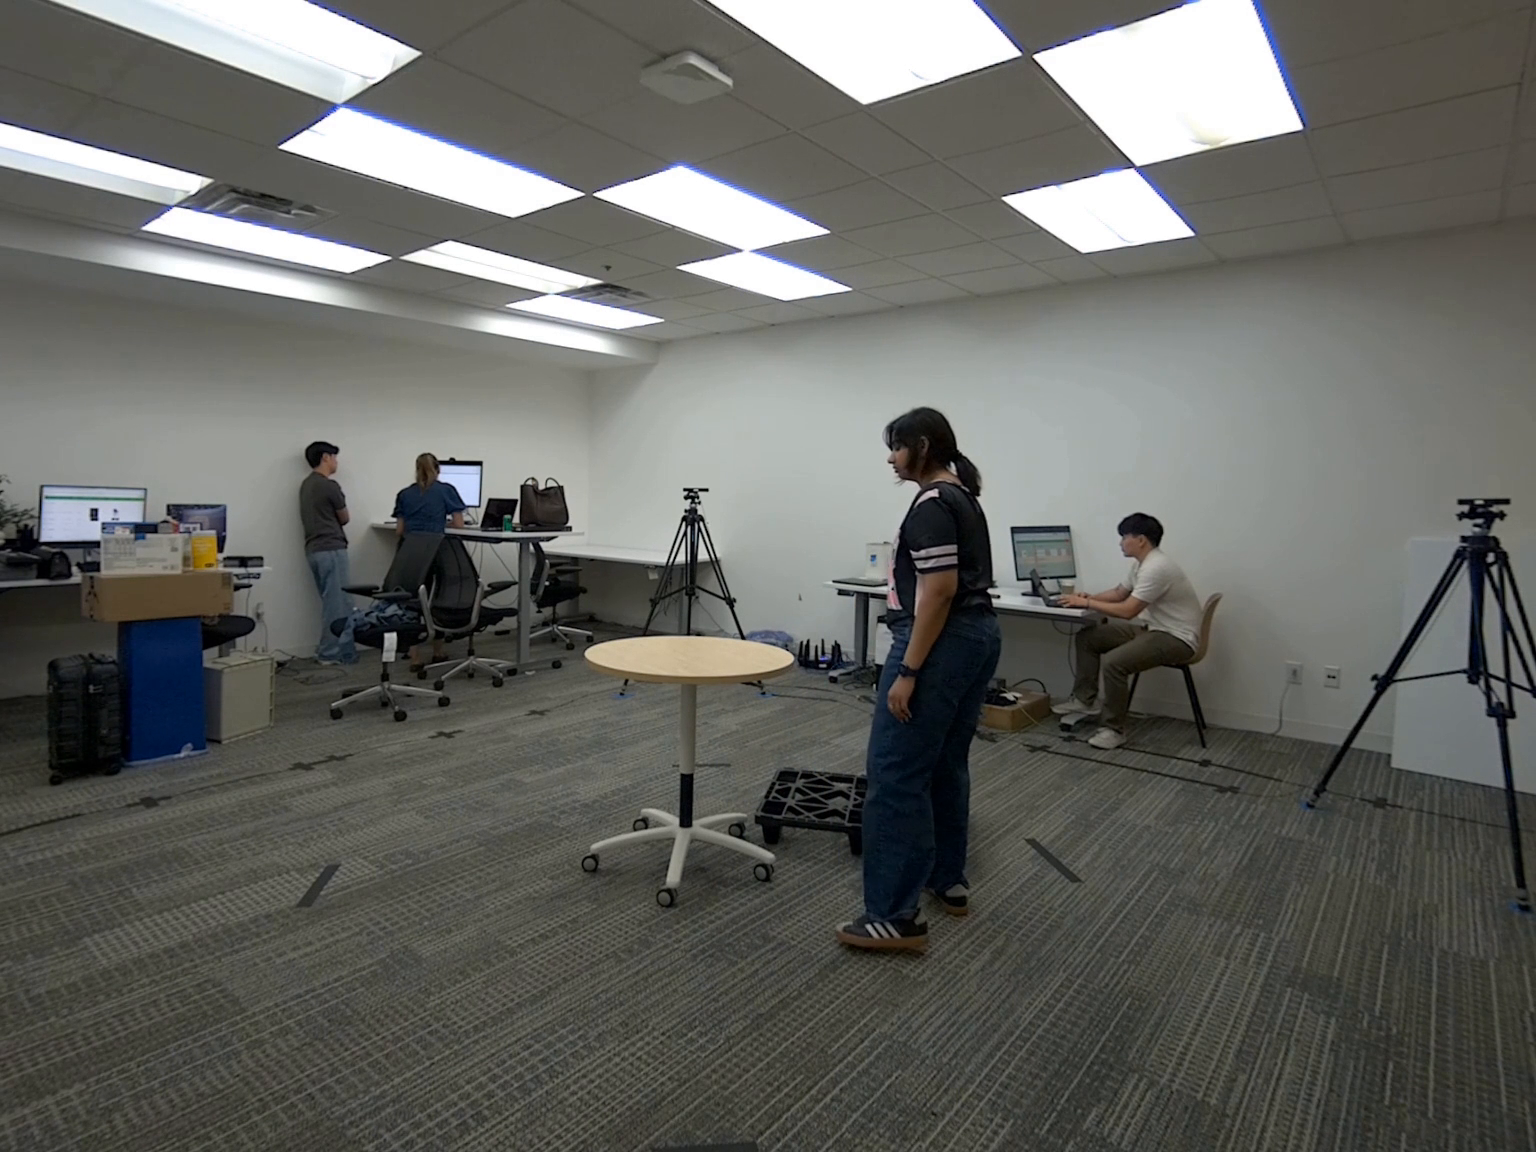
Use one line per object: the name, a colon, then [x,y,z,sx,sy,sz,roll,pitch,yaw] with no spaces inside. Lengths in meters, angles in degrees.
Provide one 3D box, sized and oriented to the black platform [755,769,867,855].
black platform: [0.380,0.976,3.486,0.817,0.143,0.599,2,6,12]
